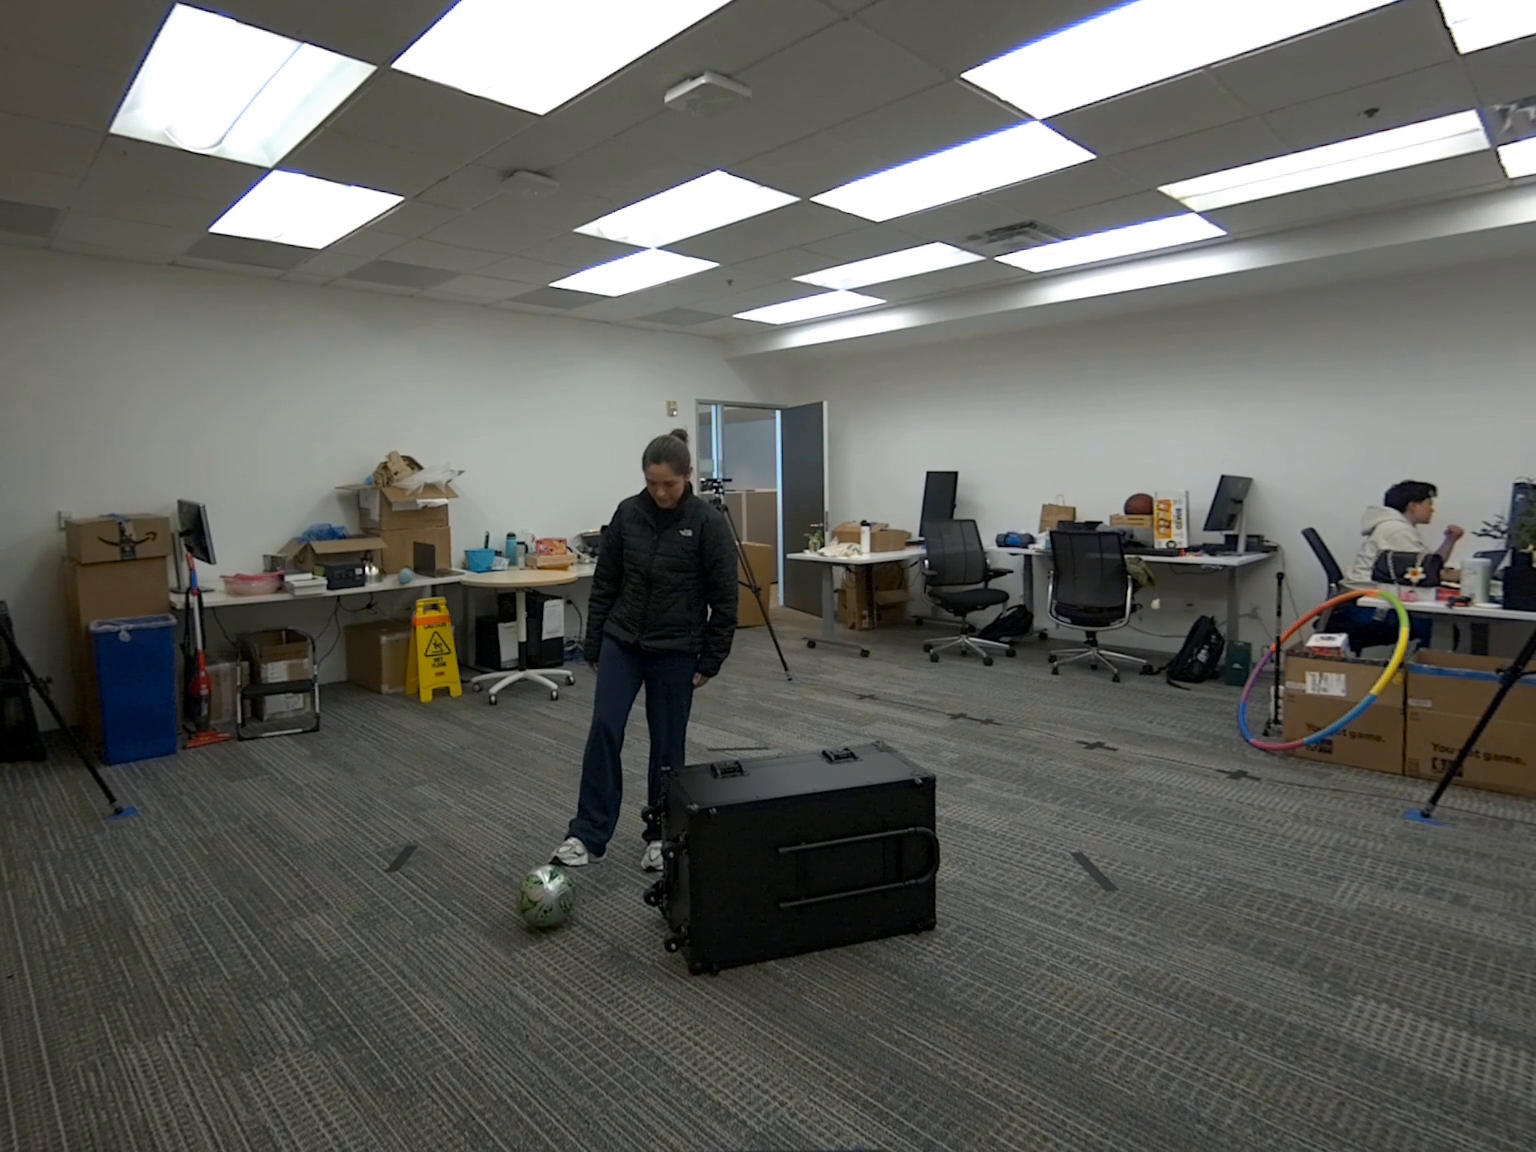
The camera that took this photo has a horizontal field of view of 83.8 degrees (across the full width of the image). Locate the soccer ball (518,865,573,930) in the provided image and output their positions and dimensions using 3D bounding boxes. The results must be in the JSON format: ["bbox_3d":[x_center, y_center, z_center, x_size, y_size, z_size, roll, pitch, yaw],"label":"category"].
[{"bbox_3d":[-0.697,1.012,2.701,0.187,0.187,0.188,-1,5,-2],"label":"soccer ball"}]
